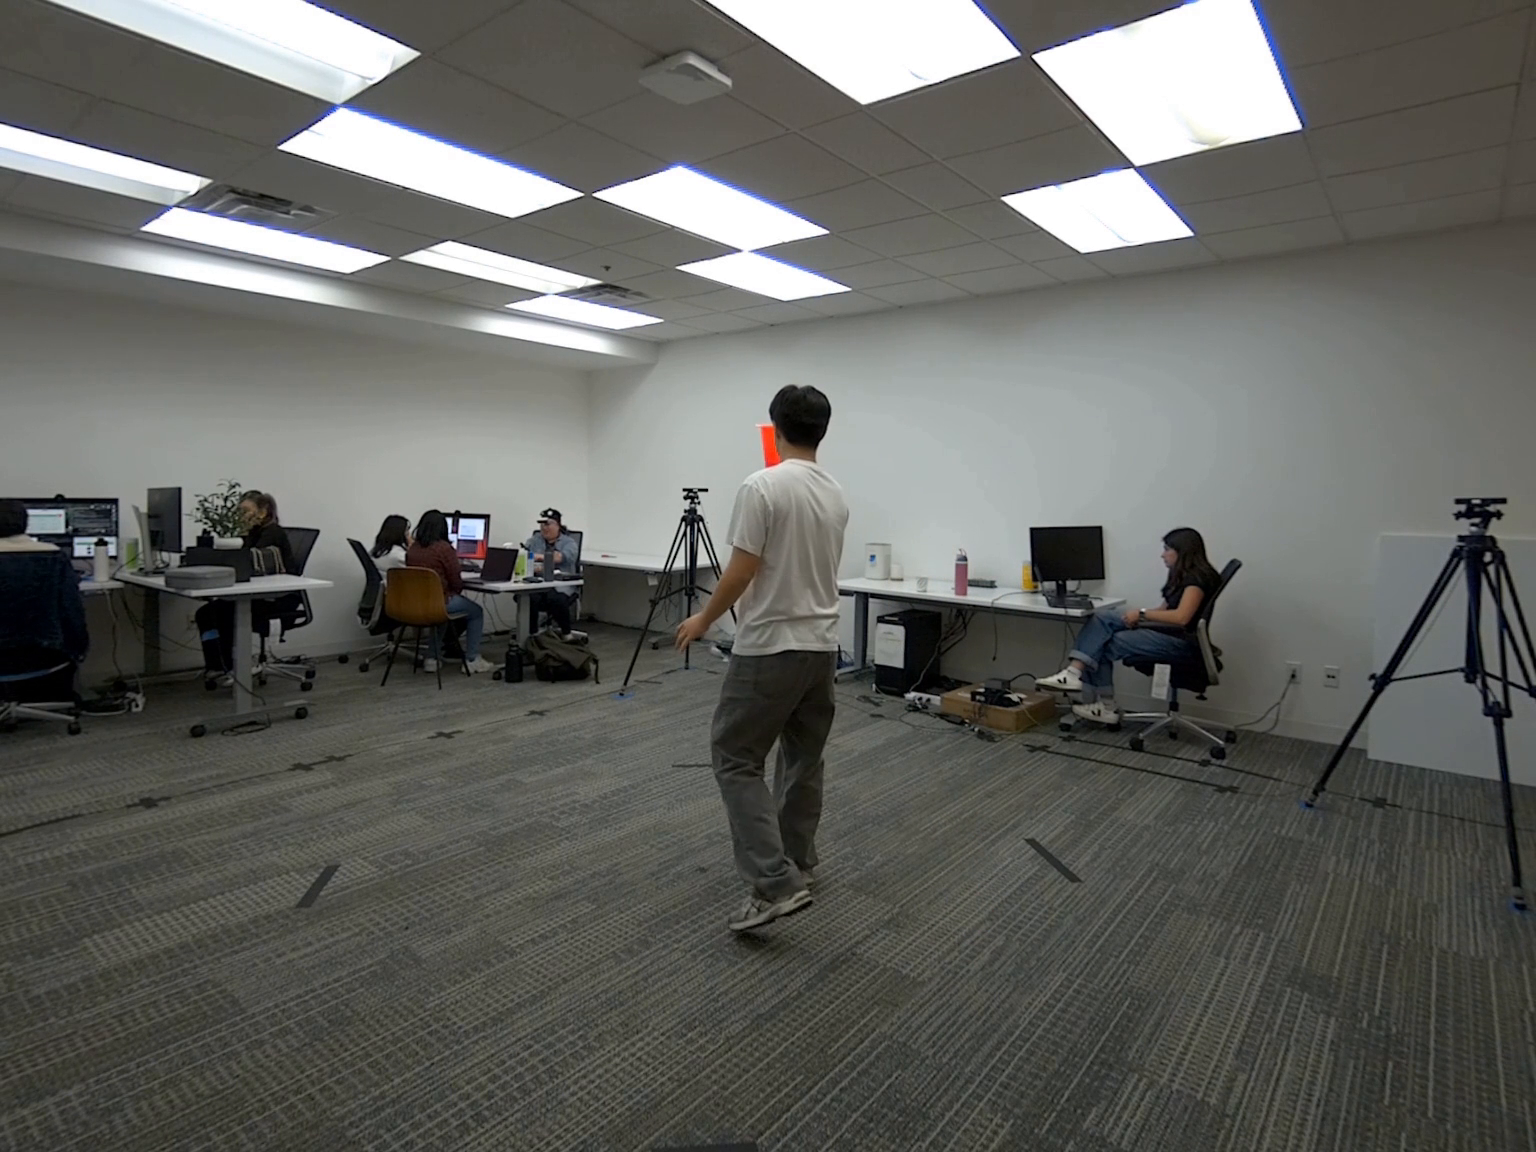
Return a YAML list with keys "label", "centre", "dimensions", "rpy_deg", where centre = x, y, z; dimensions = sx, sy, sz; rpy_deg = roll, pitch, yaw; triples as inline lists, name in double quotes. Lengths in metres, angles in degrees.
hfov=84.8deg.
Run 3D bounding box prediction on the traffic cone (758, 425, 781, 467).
- label: "traffic cone"
  centre: [0.044, -0.427, 3.449]
  dimensions: [0.205, 0.380, 0.205]
  rpy_deg: [5, 9, 6]
